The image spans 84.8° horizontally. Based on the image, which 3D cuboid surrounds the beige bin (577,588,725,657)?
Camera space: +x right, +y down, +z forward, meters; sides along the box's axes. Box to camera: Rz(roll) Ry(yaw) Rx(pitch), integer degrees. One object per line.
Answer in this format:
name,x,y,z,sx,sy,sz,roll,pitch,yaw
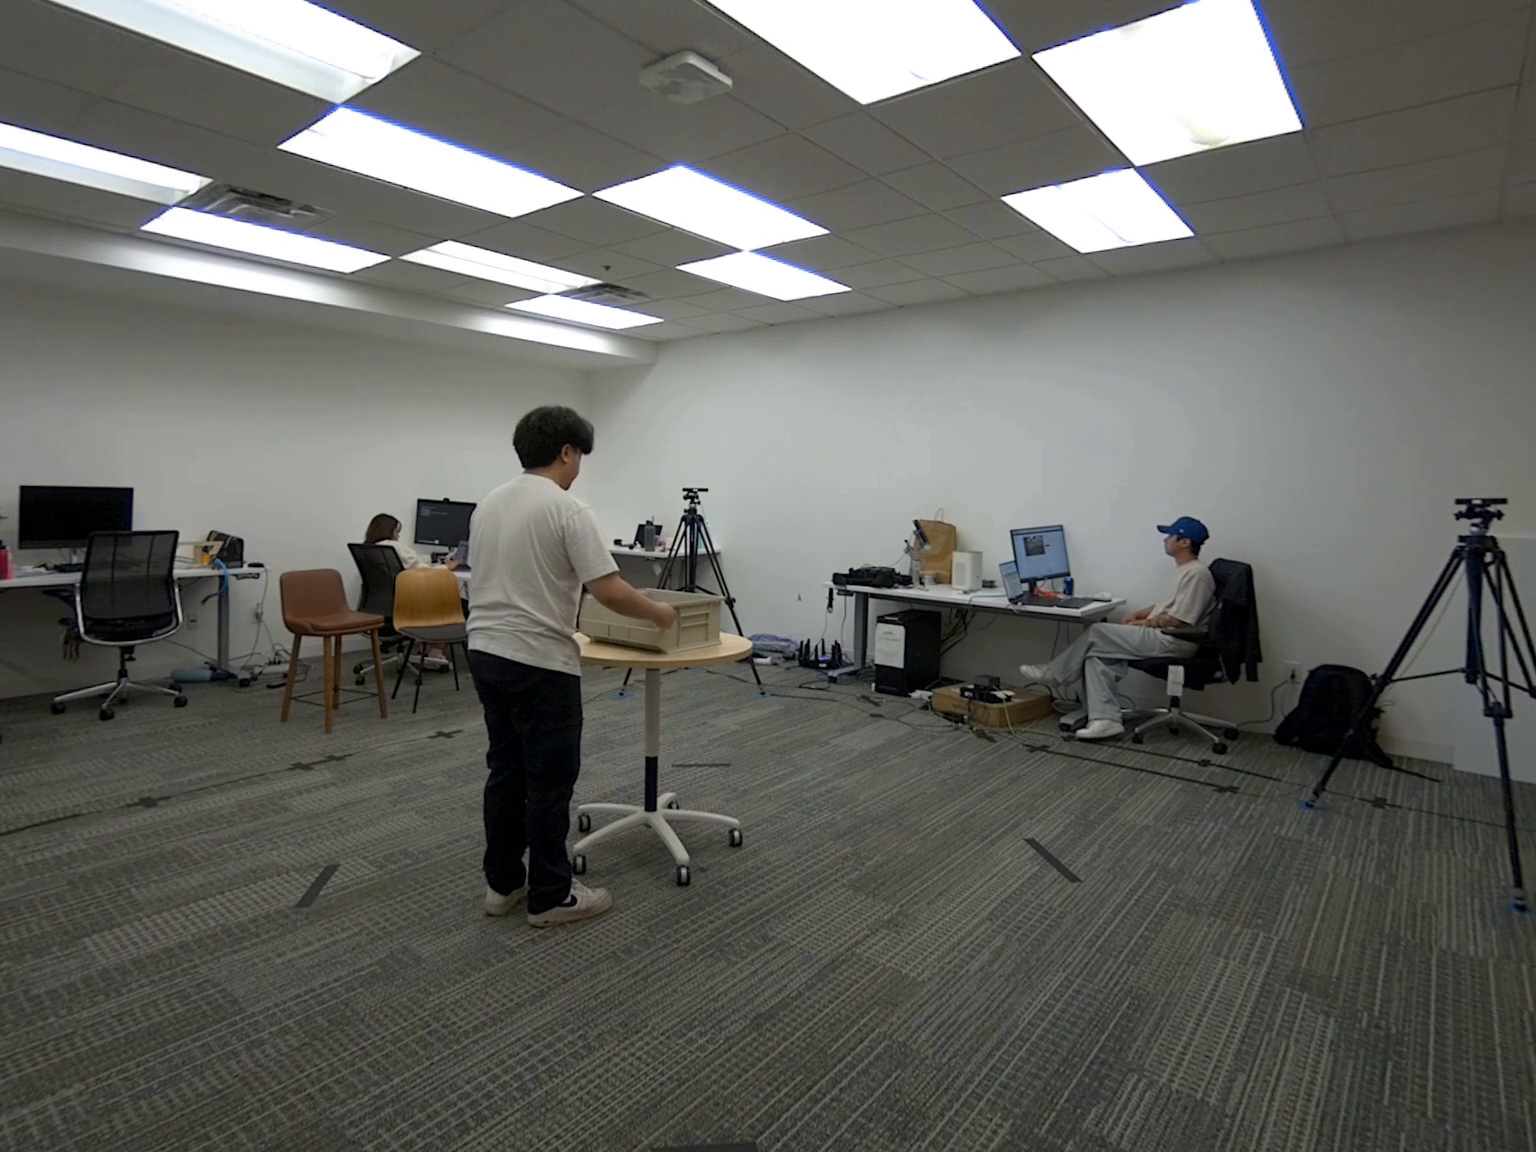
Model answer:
beige bin,-0.452,0.168,3.248,0.436,0.188,0.366,4,4,37
